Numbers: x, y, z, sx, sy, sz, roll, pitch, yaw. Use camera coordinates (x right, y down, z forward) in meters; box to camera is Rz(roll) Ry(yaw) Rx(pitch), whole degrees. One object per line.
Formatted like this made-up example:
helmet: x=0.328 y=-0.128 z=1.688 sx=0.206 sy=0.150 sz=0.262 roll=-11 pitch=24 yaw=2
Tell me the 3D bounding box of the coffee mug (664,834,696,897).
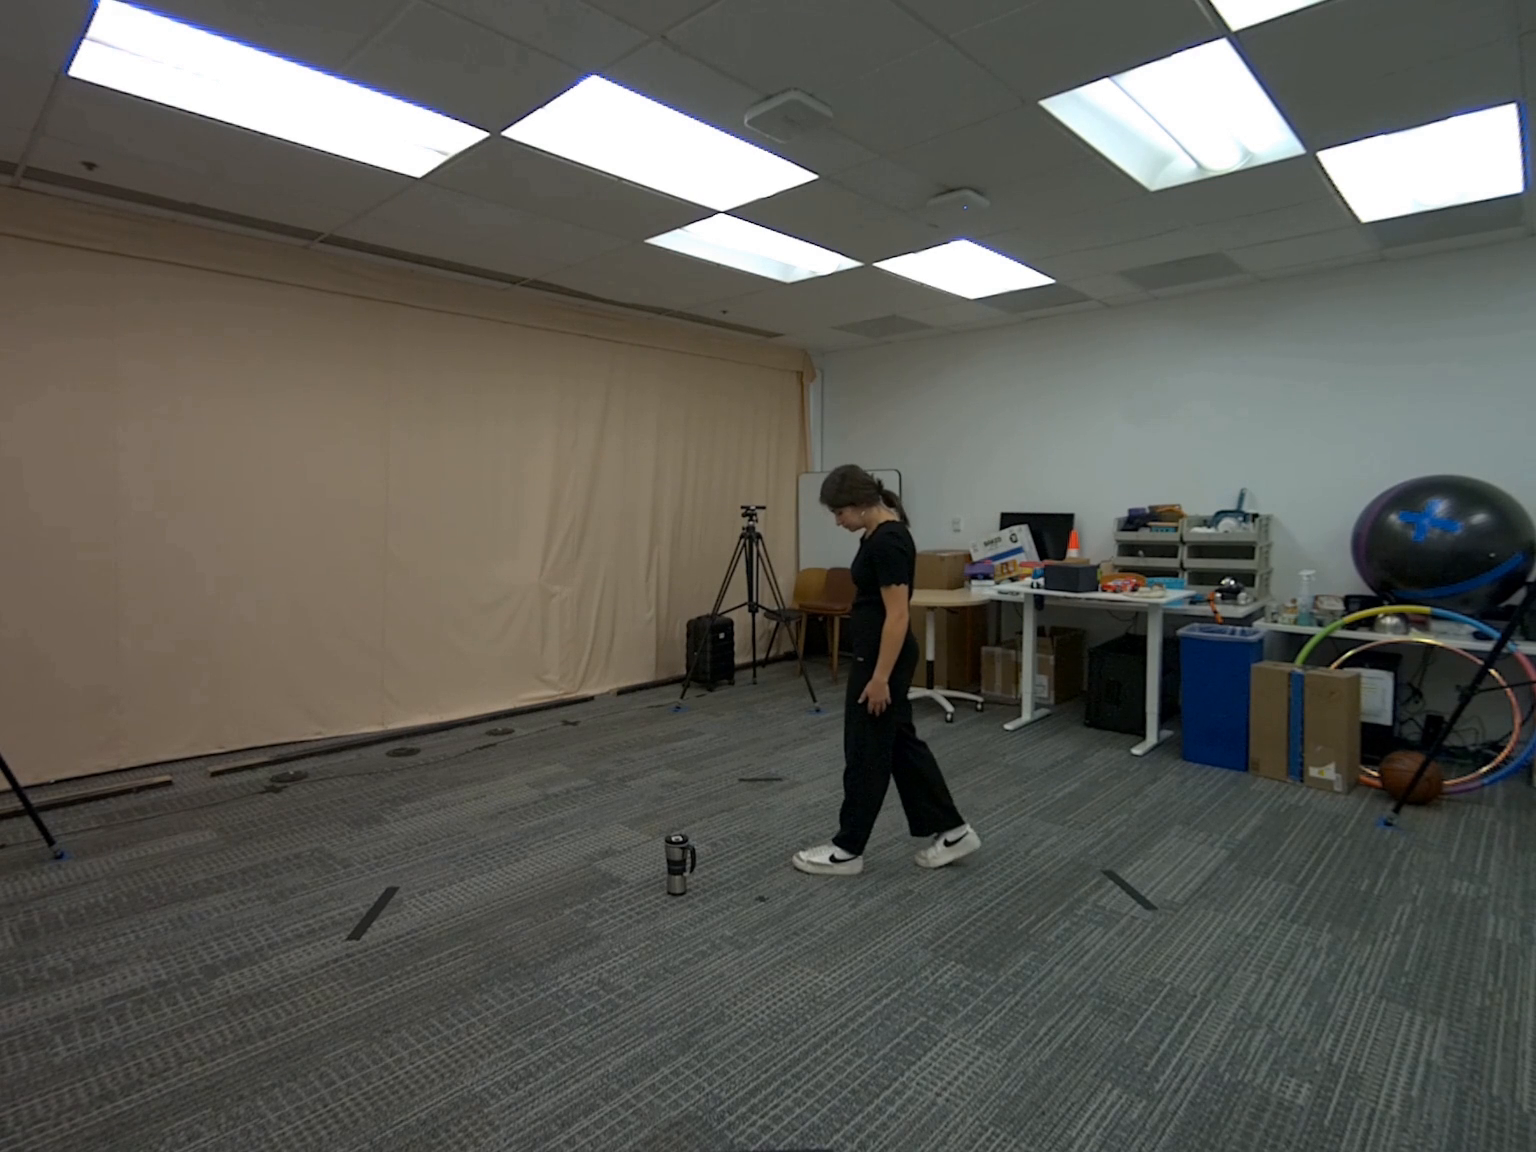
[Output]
coffee mug: x=-0.314 y=1.043 z=3.012 sx=0.085 sy=0.203 sz=0.126 roll=2 pitch=-1 yaw=-36
